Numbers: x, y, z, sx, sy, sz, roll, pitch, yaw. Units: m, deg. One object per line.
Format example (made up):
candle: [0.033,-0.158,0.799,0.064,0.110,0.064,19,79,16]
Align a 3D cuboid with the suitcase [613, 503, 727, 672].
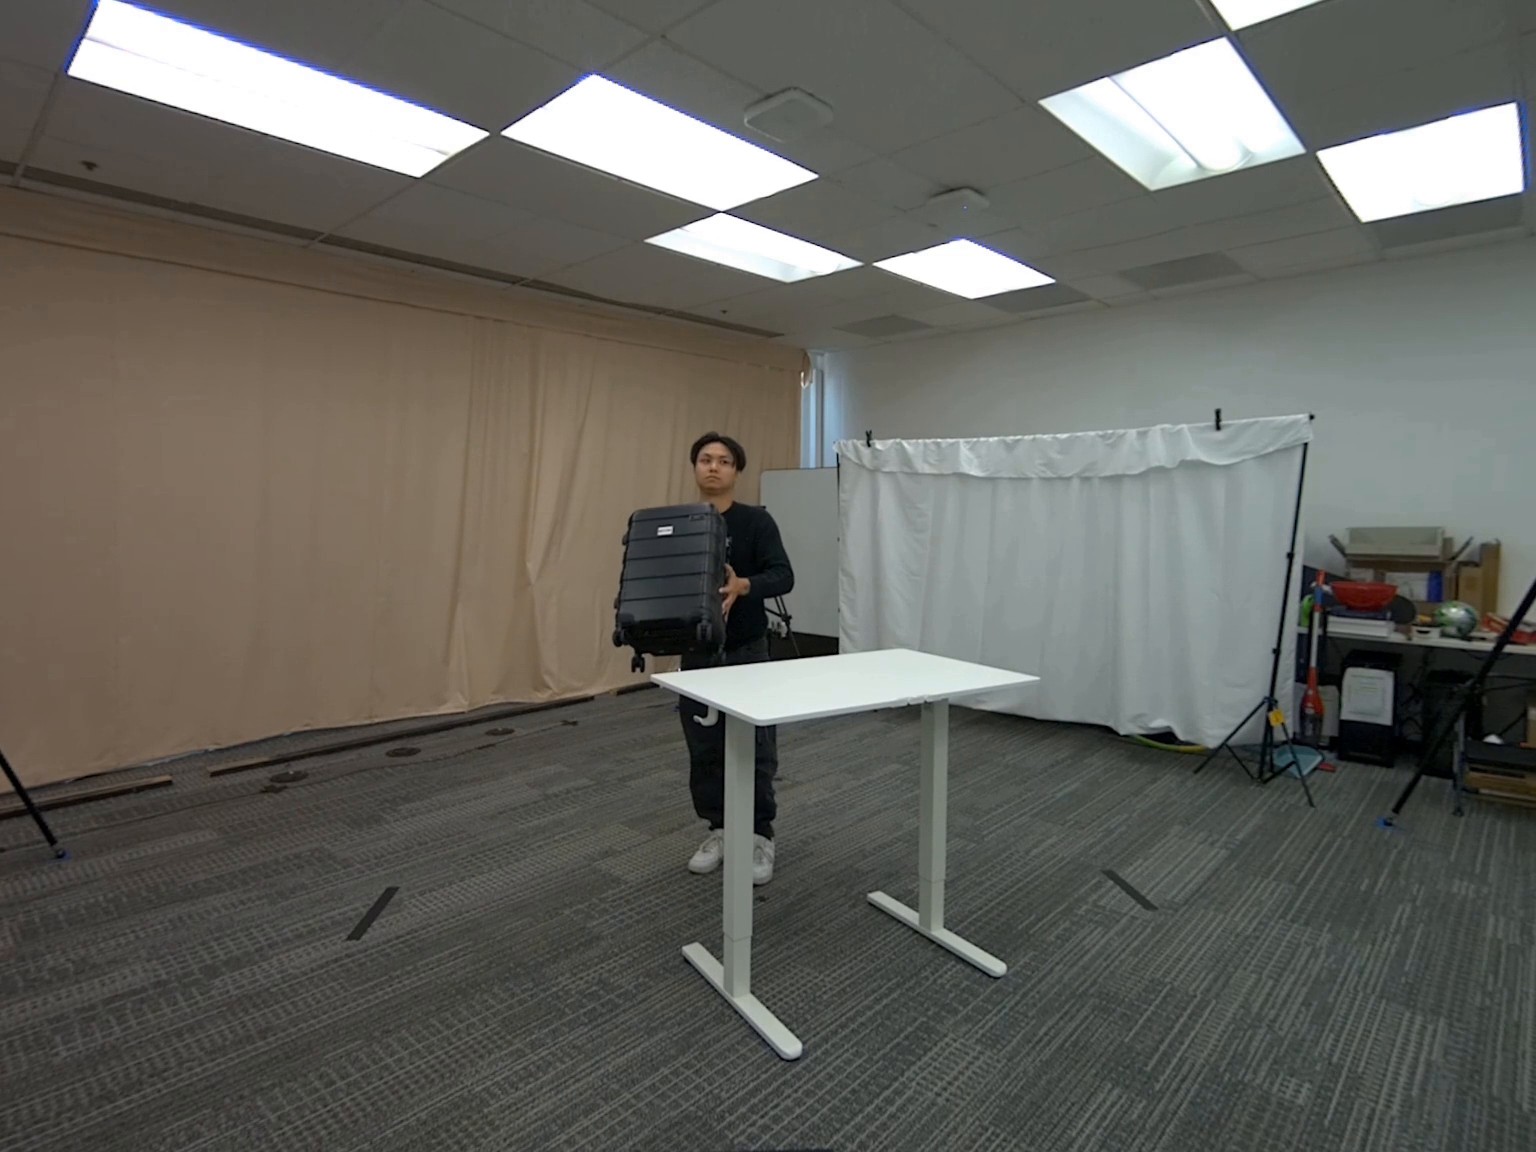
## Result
suitcase: [-0.317,0.022,2.940,0.381,0.558,0.241,-6,-32,14]
